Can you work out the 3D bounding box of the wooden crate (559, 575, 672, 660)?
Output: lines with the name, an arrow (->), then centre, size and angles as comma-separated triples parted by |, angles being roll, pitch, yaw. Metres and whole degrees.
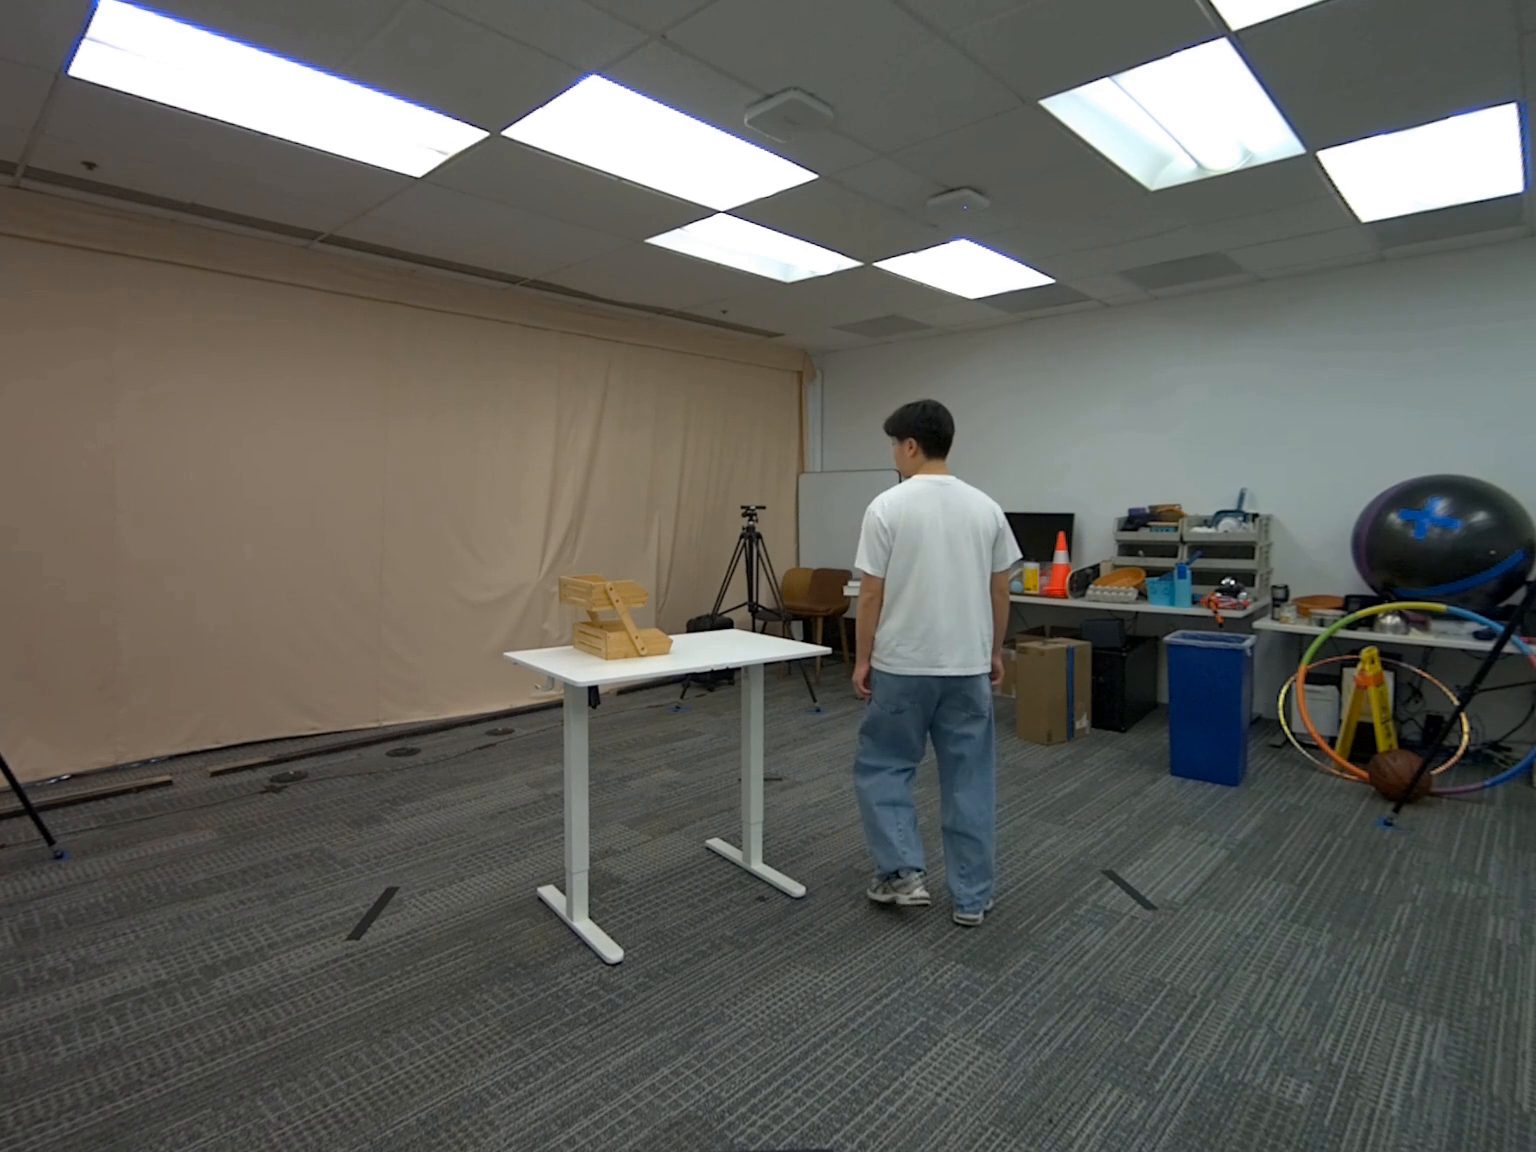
wooden crate -> -0.535, 0.134, 2.953 | 0.293, 0.273, 0.334 | -3, 5, -34
